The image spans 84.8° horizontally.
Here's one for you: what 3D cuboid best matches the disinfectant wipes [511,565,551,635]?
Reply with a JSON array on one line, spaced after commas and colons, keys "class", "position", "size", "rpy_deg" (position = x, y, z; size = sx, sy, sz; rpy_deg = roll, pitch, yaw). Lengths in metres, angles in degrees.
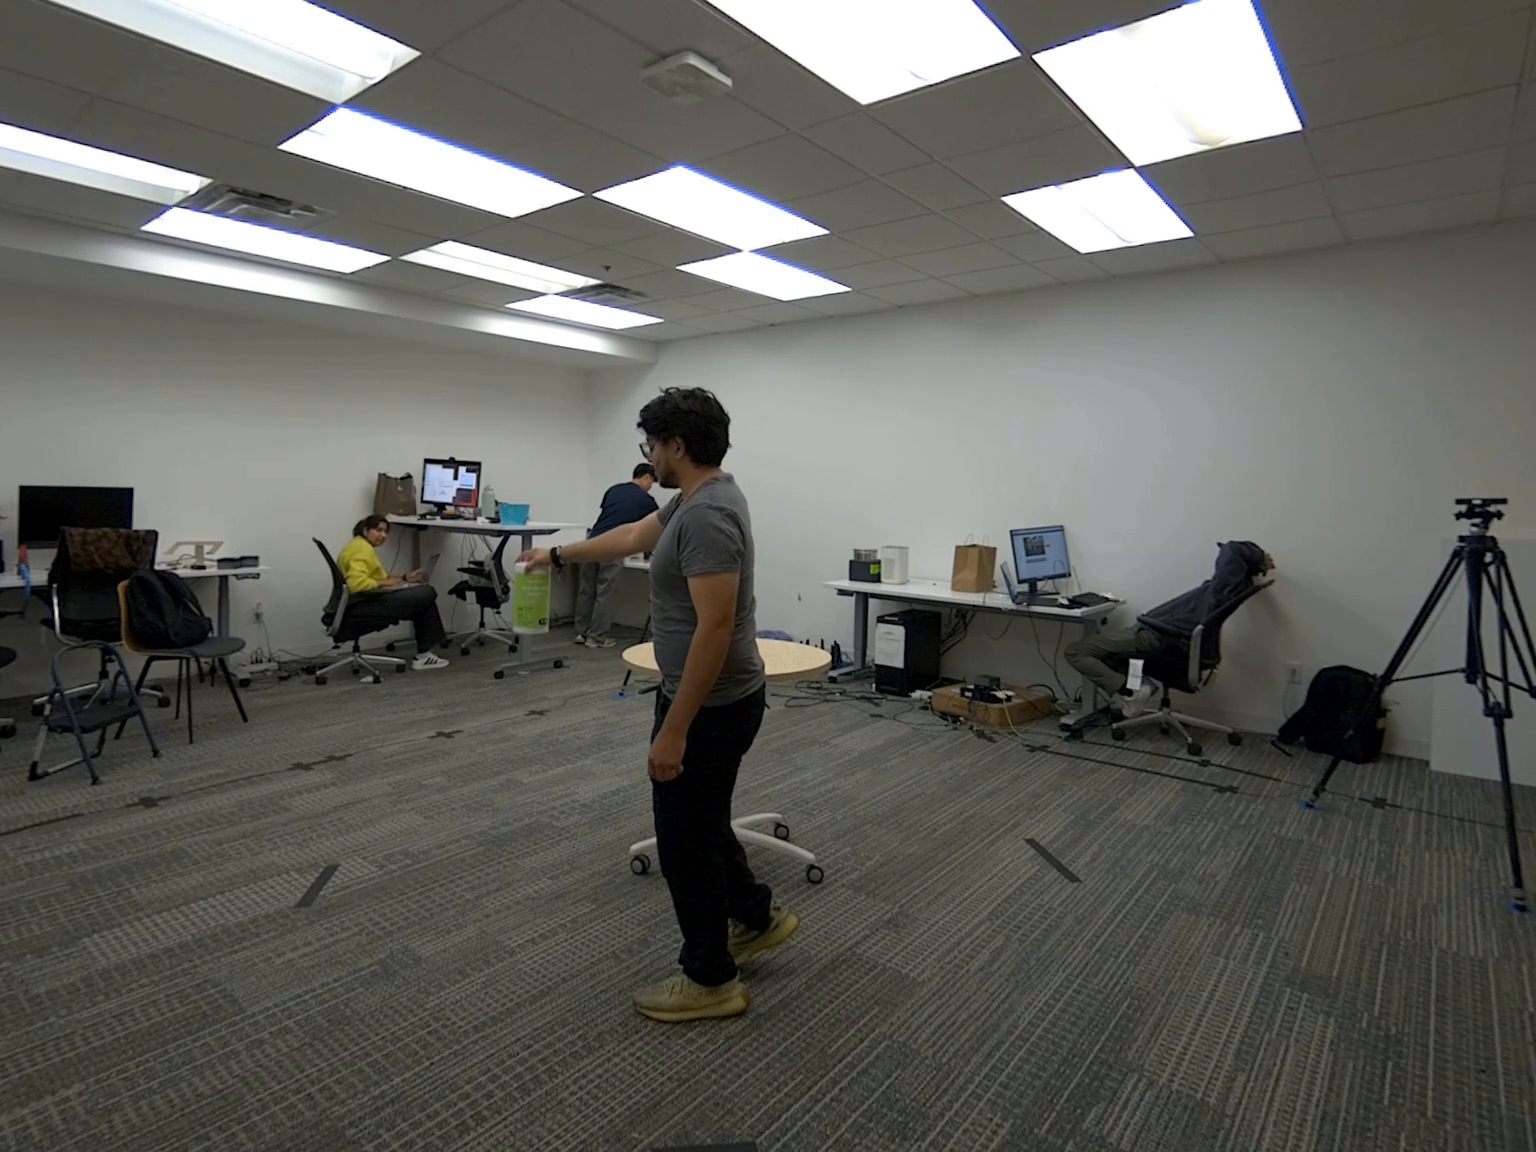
[{"class": "disinfectant wipes", "position": [-0.741, 0.071, 2.628], "size": [0.118, 0.217, 0.118], "rpy_deg": [2, 1, -2]}]
